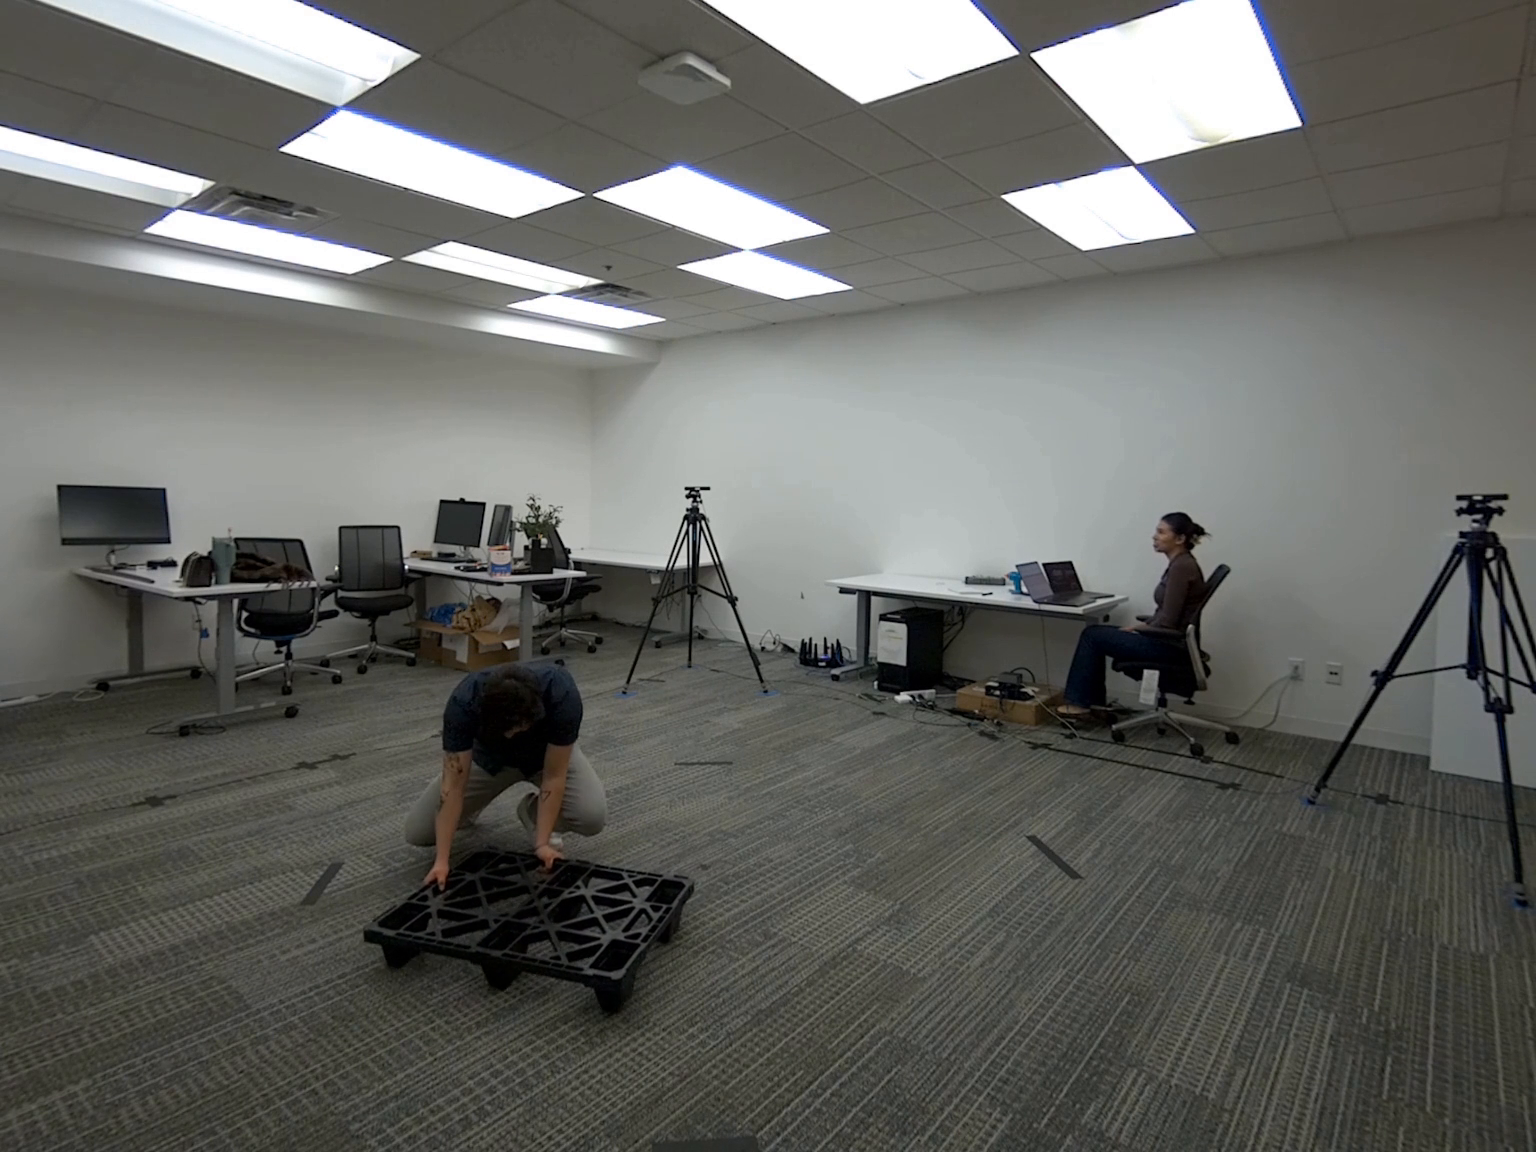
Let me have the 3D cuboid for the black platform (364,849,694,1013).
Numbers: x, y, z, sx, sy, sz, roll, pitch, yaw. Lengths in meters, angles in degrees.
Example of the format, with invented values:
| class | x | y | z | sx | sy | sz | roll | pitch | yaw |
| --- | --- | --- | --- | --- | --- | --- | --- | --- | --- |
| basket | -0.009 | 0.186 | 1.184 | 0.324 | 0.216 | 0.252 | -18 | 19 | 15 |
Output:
| class | x | y | z | sx | sy | sz | roll | pitch | yaw |
| --- | --- | --- | --- | --- | --- | --- | --- | --- | --- |
| black platform | -0.699 | 1.047 | 2.569 | 0.820 | 0.142 | 0.597 | 2 | 6 | 16 |
